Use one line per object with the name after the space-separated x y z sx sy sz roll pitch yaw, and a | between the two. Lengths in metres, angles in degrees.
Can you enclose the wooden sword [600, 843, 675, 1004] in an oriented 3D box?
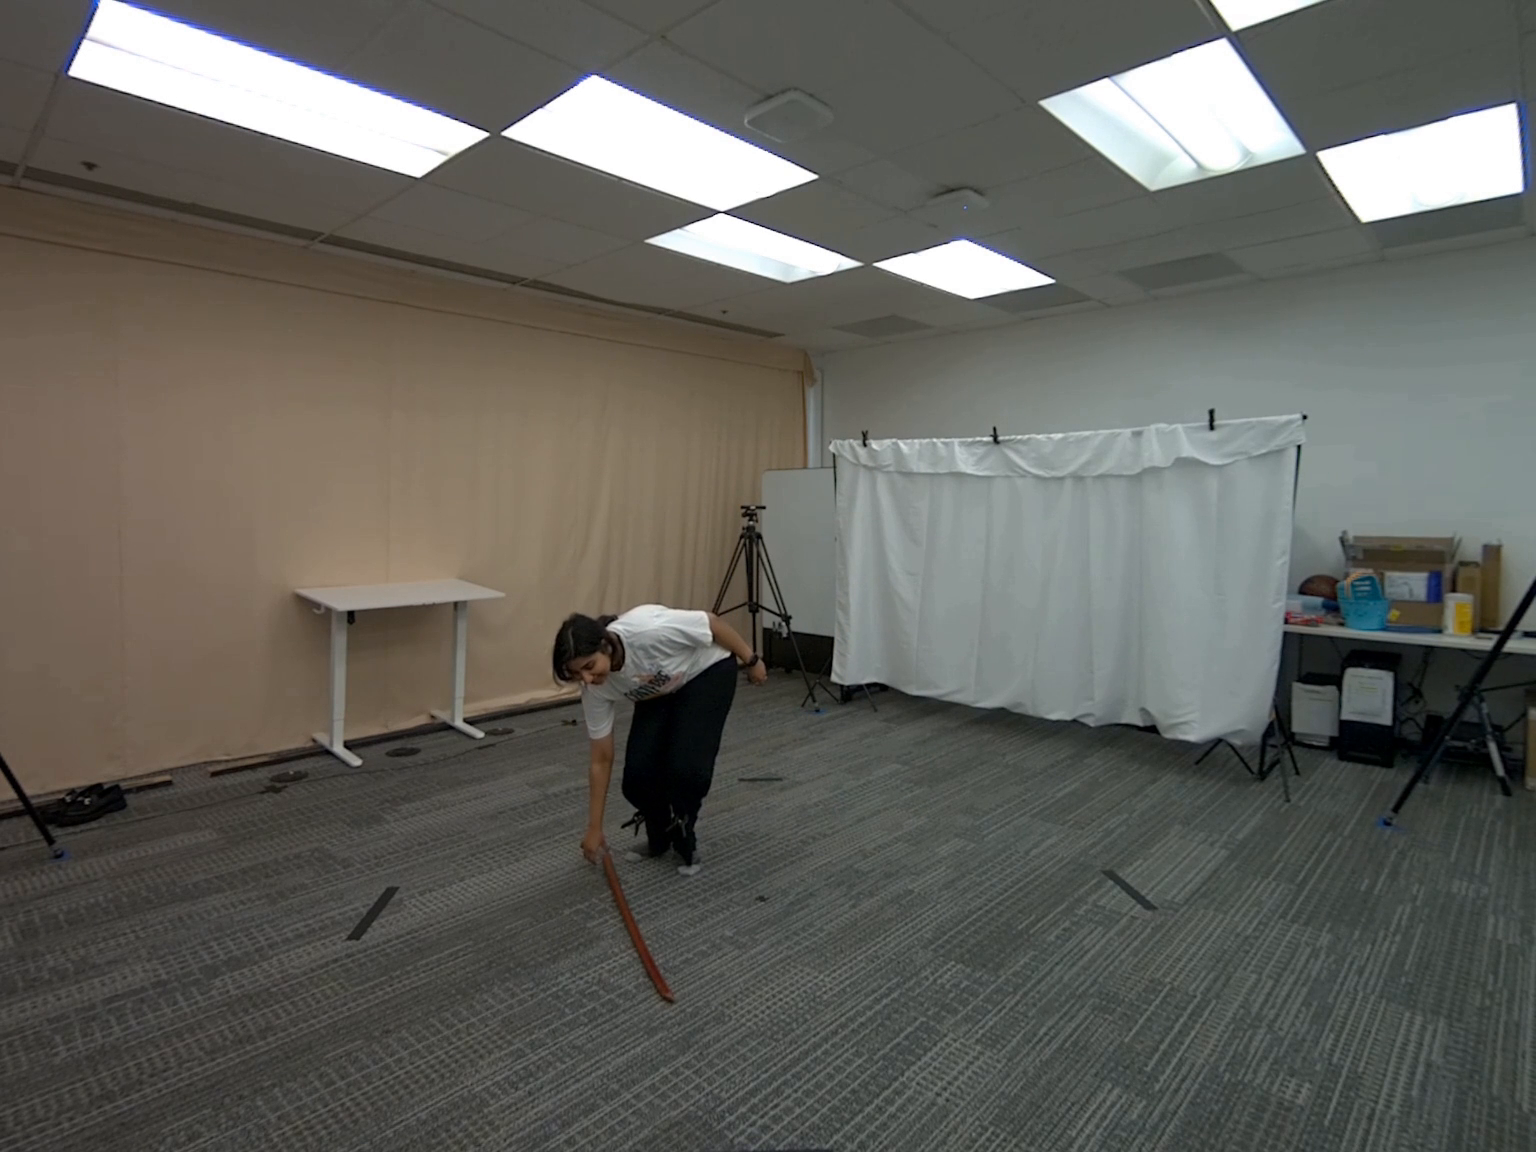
-0.468 1.126 2.831 0.051 0.023 1.049 -43 19 -12 | wooden sword
